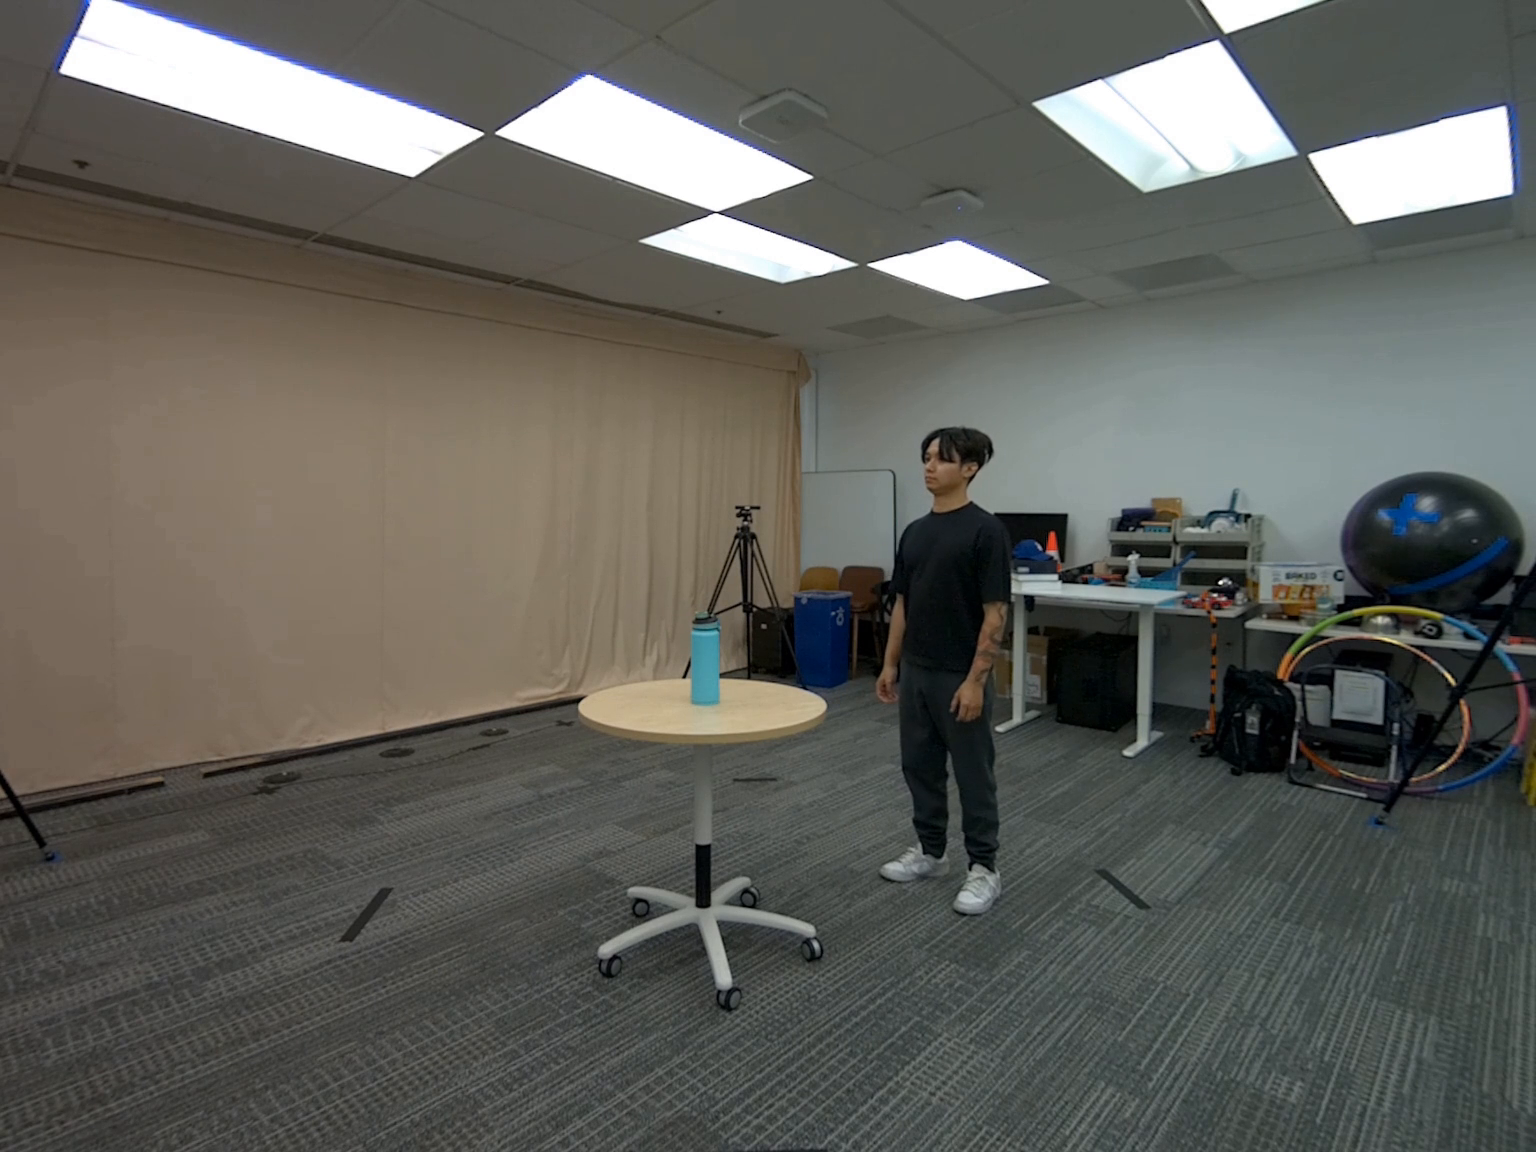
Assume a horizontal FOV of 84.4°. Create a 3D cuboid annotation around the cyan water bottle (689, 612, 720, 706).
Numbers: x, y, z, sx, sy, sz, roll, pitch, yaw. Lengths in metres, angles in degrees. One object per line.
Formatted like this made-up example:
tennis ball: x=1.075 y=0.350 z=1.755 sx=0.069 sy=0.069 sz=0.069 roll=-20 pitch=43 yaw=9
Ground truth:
cyan water bottle: x=-0.188 y=0.256 z=2.608 sx=0.092 sy=0.283 sz=0.092 roll=2 pitch=1 yaw=-2
